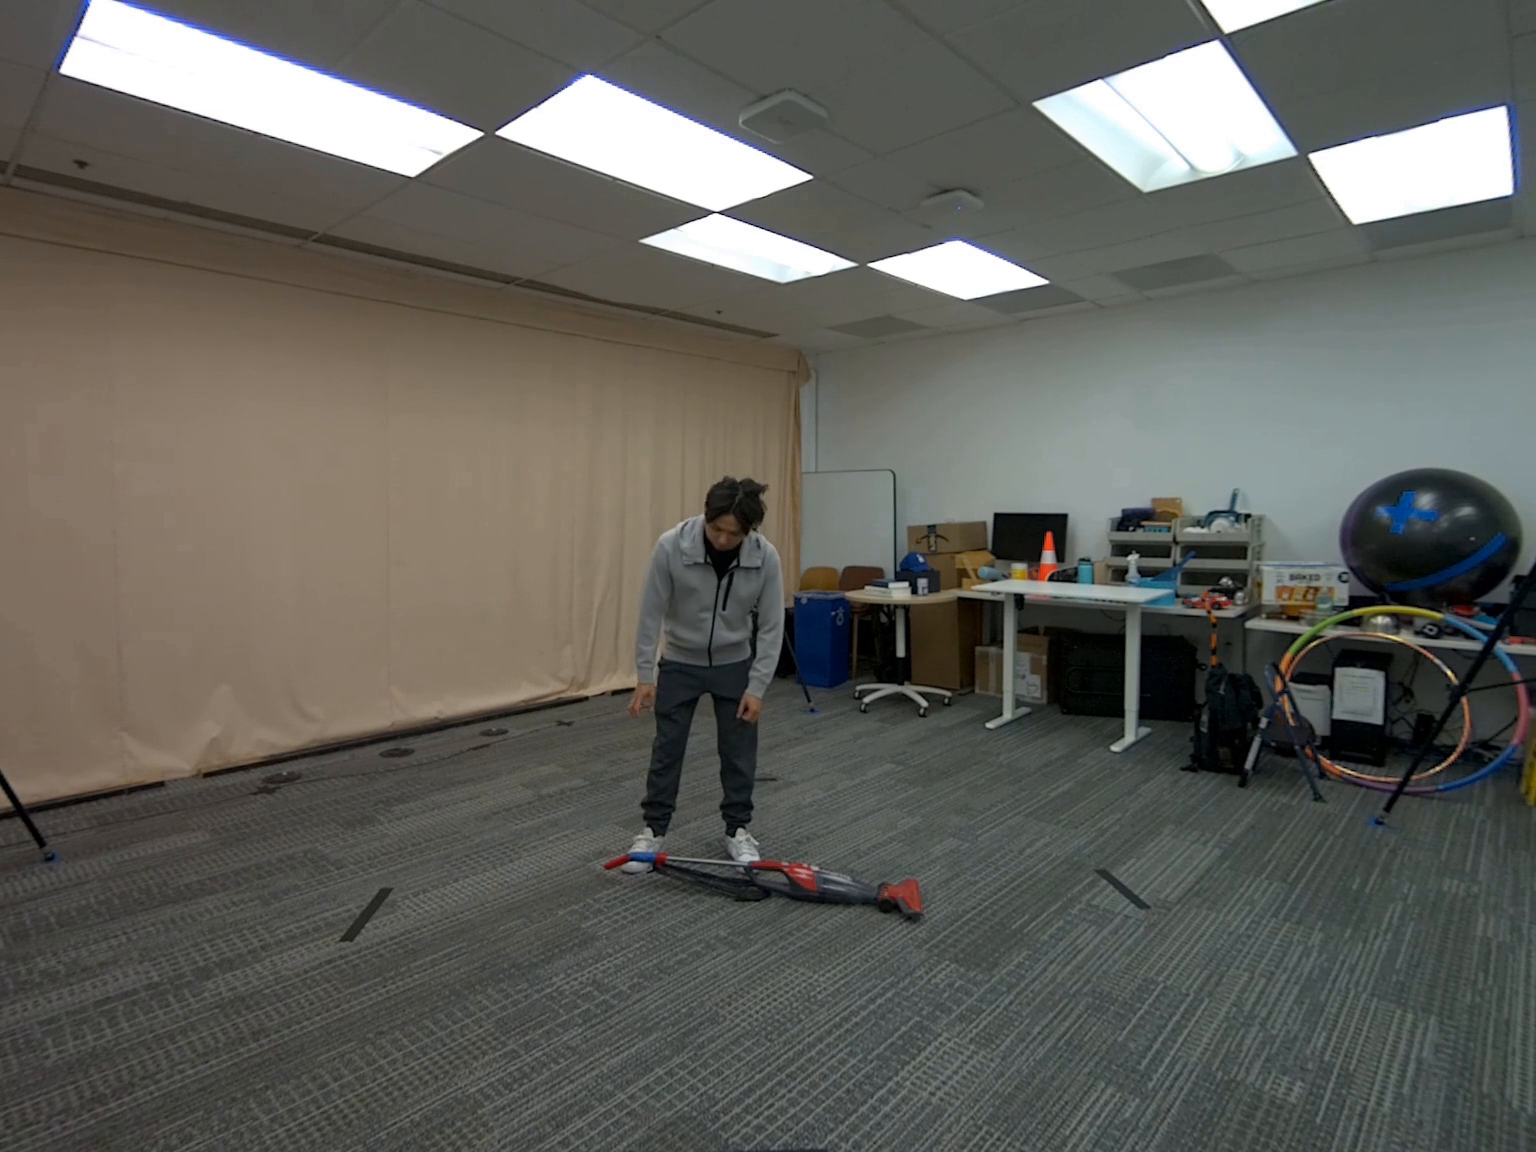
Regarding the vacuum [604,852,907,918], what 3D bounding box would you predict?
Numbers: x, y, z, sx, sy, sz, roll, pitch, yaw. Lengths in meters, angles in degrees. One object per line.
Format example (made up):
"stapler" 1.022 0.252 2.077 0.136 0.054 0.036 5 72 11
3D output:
"vacuum" -0.082 1.086 3.015 1.059 0.143 0.252 2 13 8
